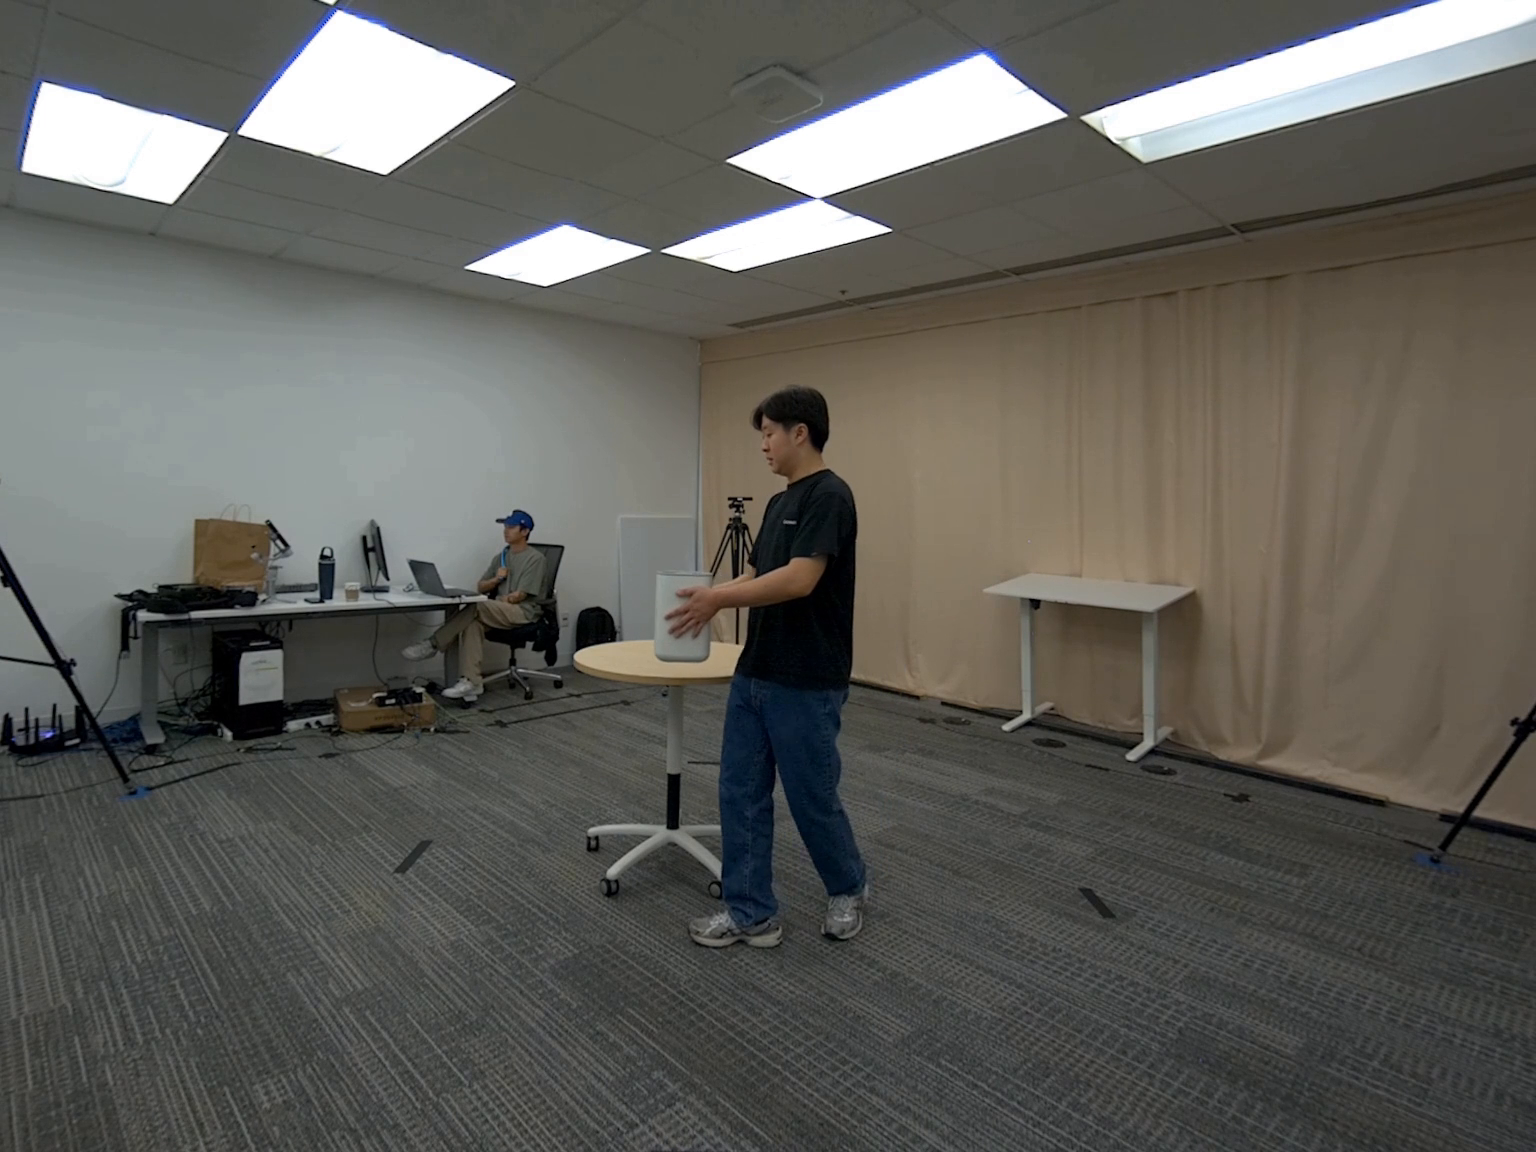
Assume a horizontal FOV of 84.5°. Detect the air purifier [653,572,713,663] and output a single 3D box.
[{"bbox_3d":[-0.256,0.121,2.566,0.170,0.265,0.172,2,2,-5],"label":"air purifier"}]
